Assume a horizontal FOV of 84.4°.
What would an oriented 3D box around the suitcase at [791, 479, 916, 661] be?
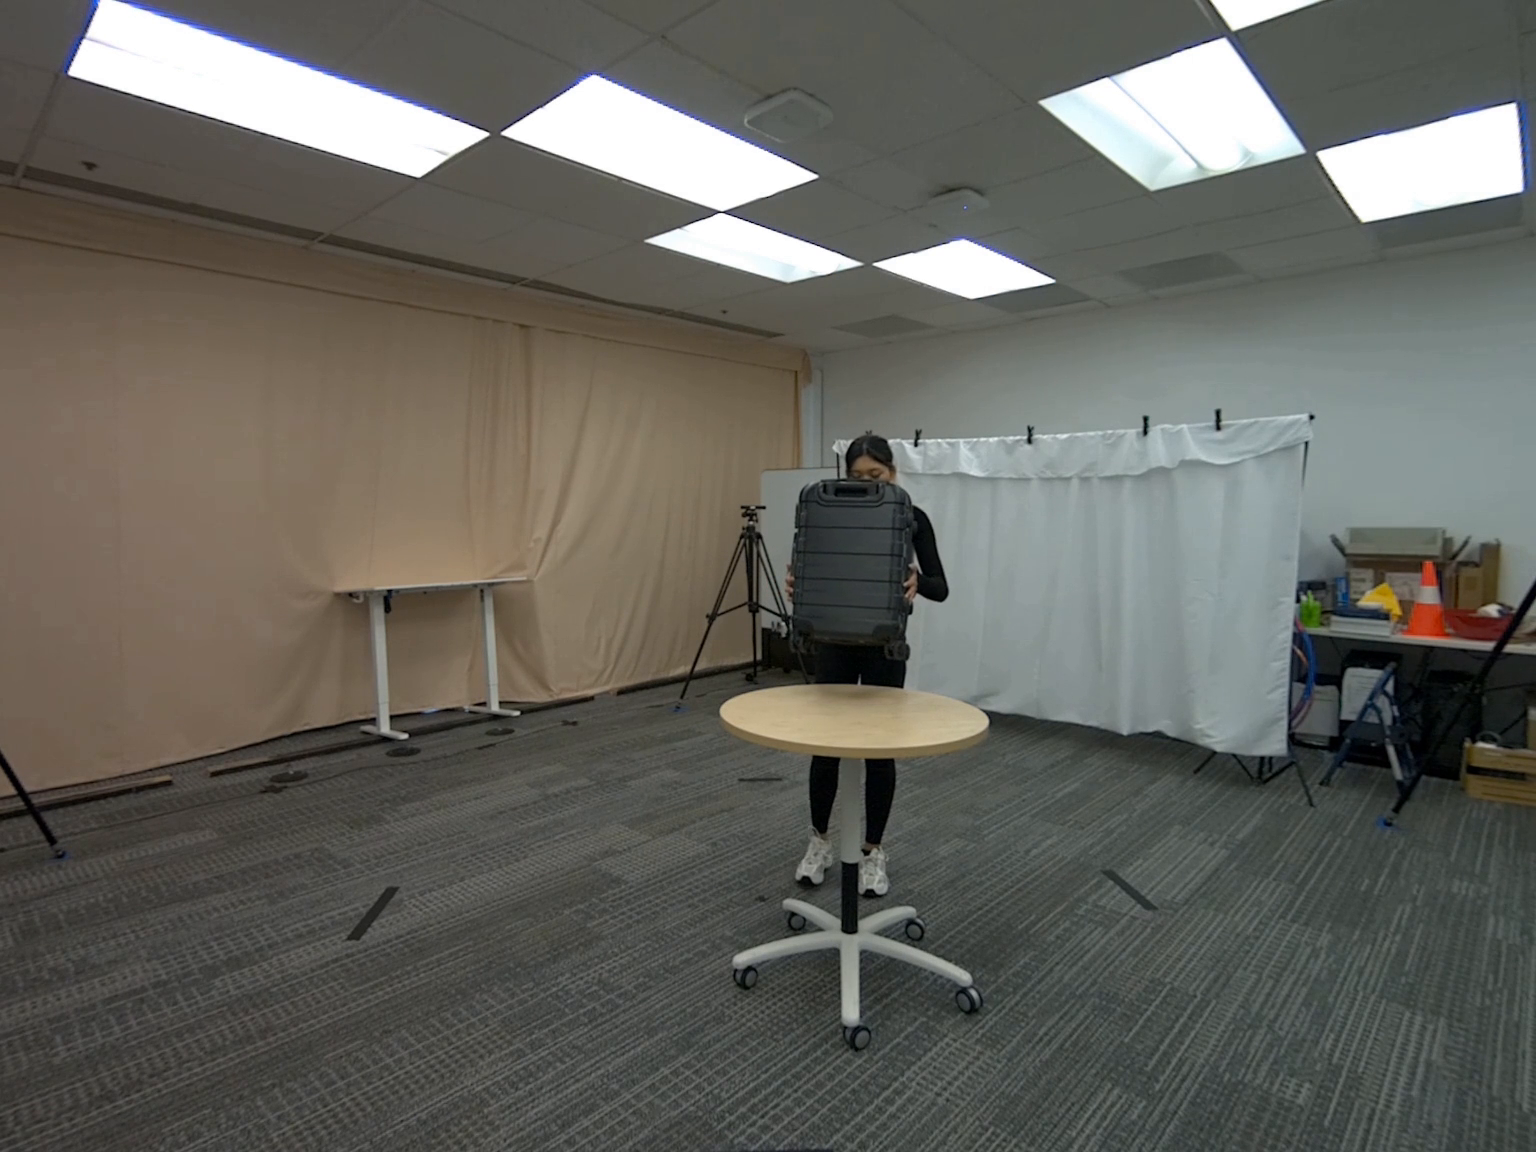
[{"bbox_3d":[0.268,-0.027,2.678,0.383,0.551,0.242,1,-7,19],"label":"suitcase"}]
